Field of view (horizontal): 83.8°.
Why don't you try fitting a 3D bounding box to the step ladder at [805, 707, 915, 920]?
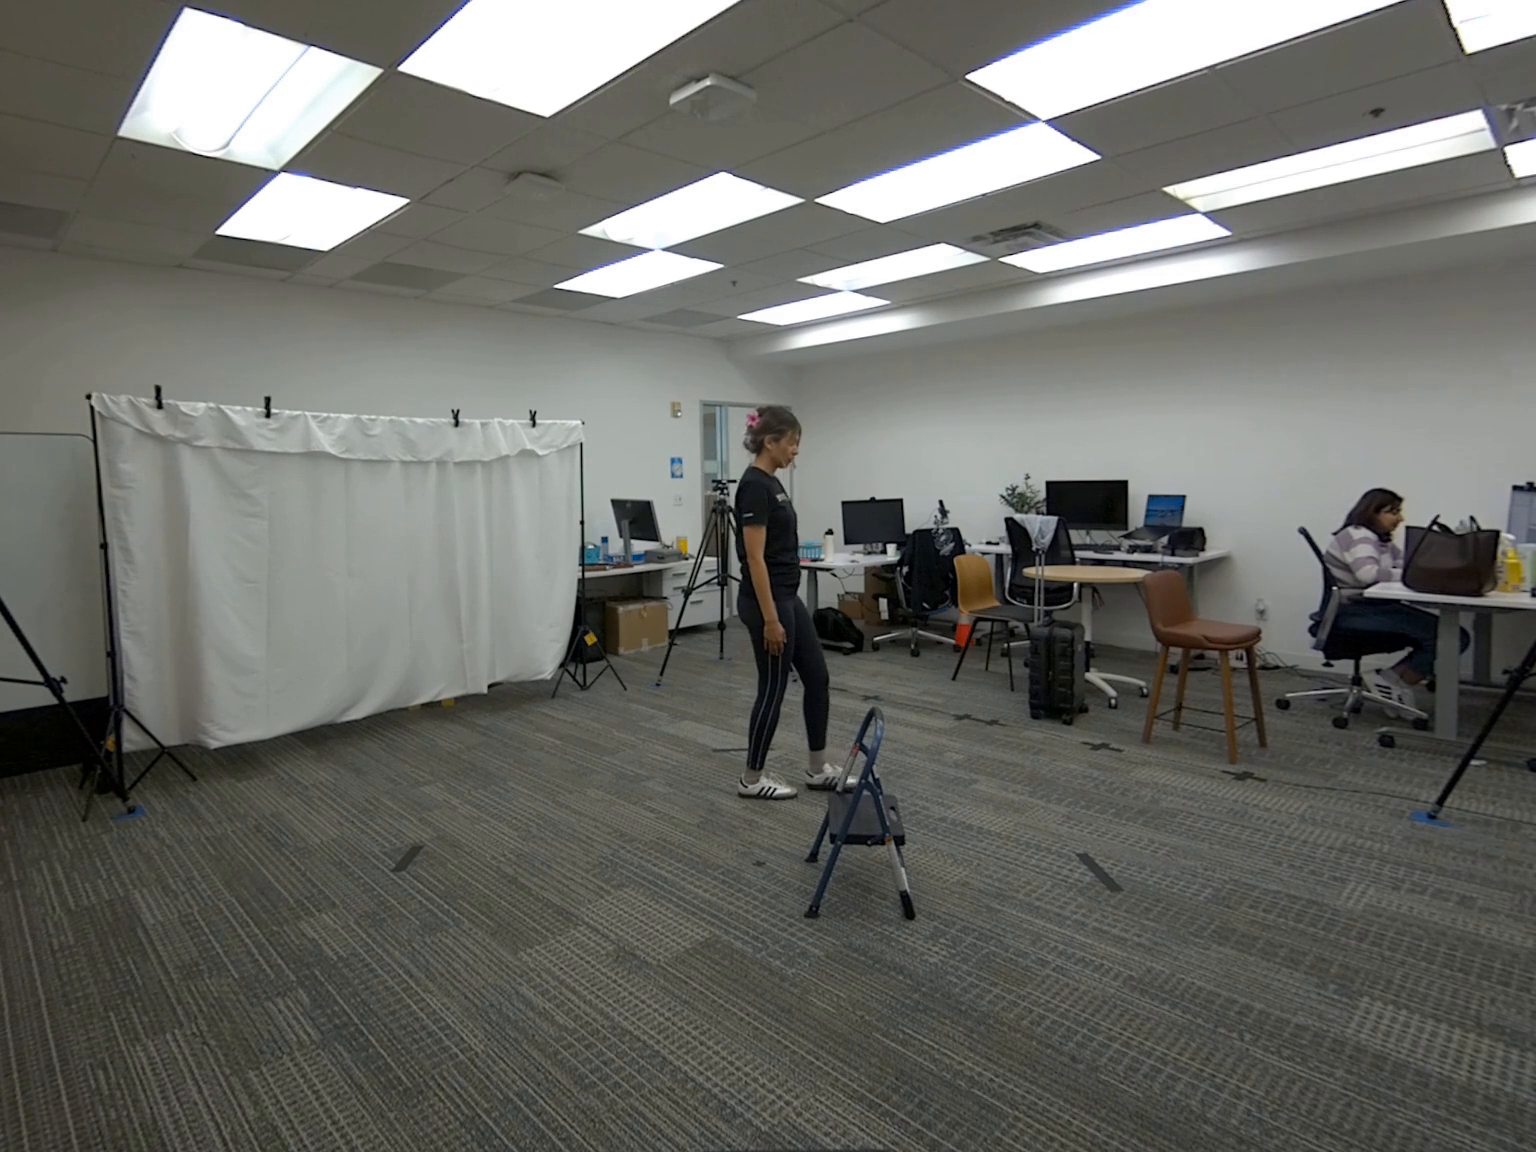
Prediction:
[{"bbox_3d":[0.300,0.768,2.893,0.350,0.604,0.431,-2,4,3],"label":"step ladder"}]
